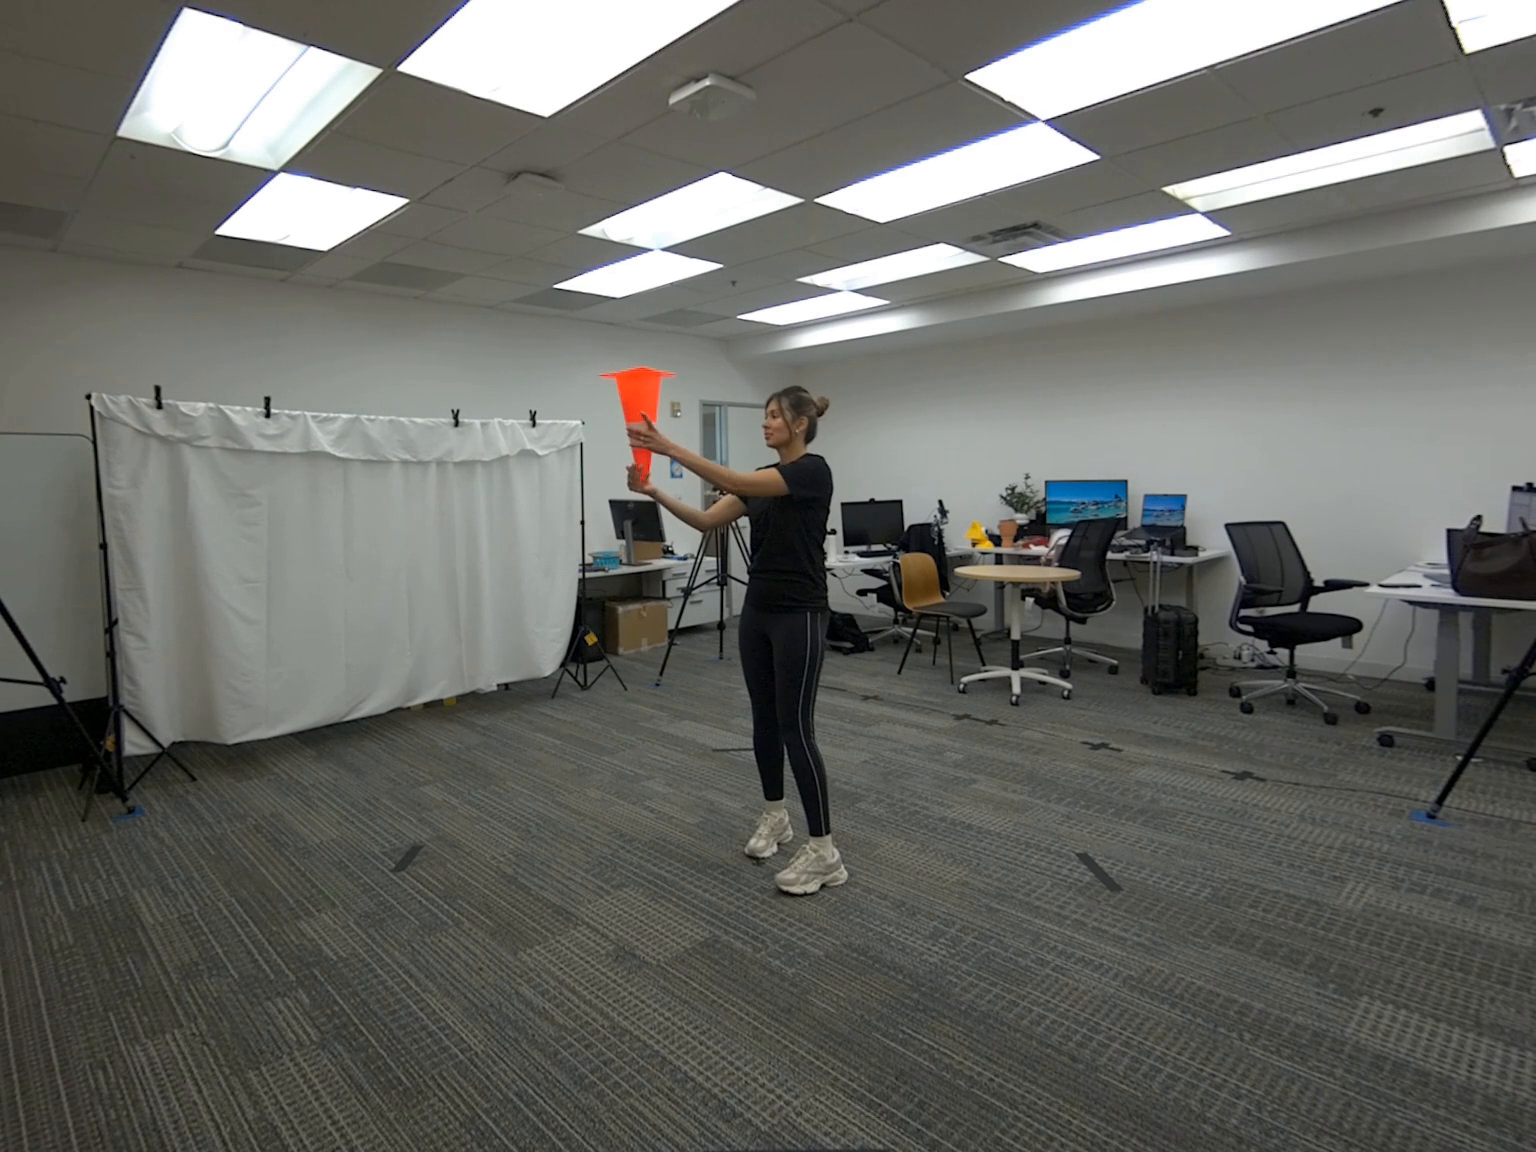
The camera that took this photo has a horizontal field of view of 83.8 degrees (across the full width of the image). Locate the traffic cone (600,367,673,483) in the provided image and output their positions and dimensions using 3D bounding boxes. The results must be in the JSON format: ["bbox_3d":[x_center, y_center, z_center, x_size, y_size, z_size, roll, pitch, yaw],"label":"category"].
[{"bbox_3d":[-0.439,-0.501,2.935,0.209,0.383,0.200,-2,2,38],"label":"traffic cone"}]
